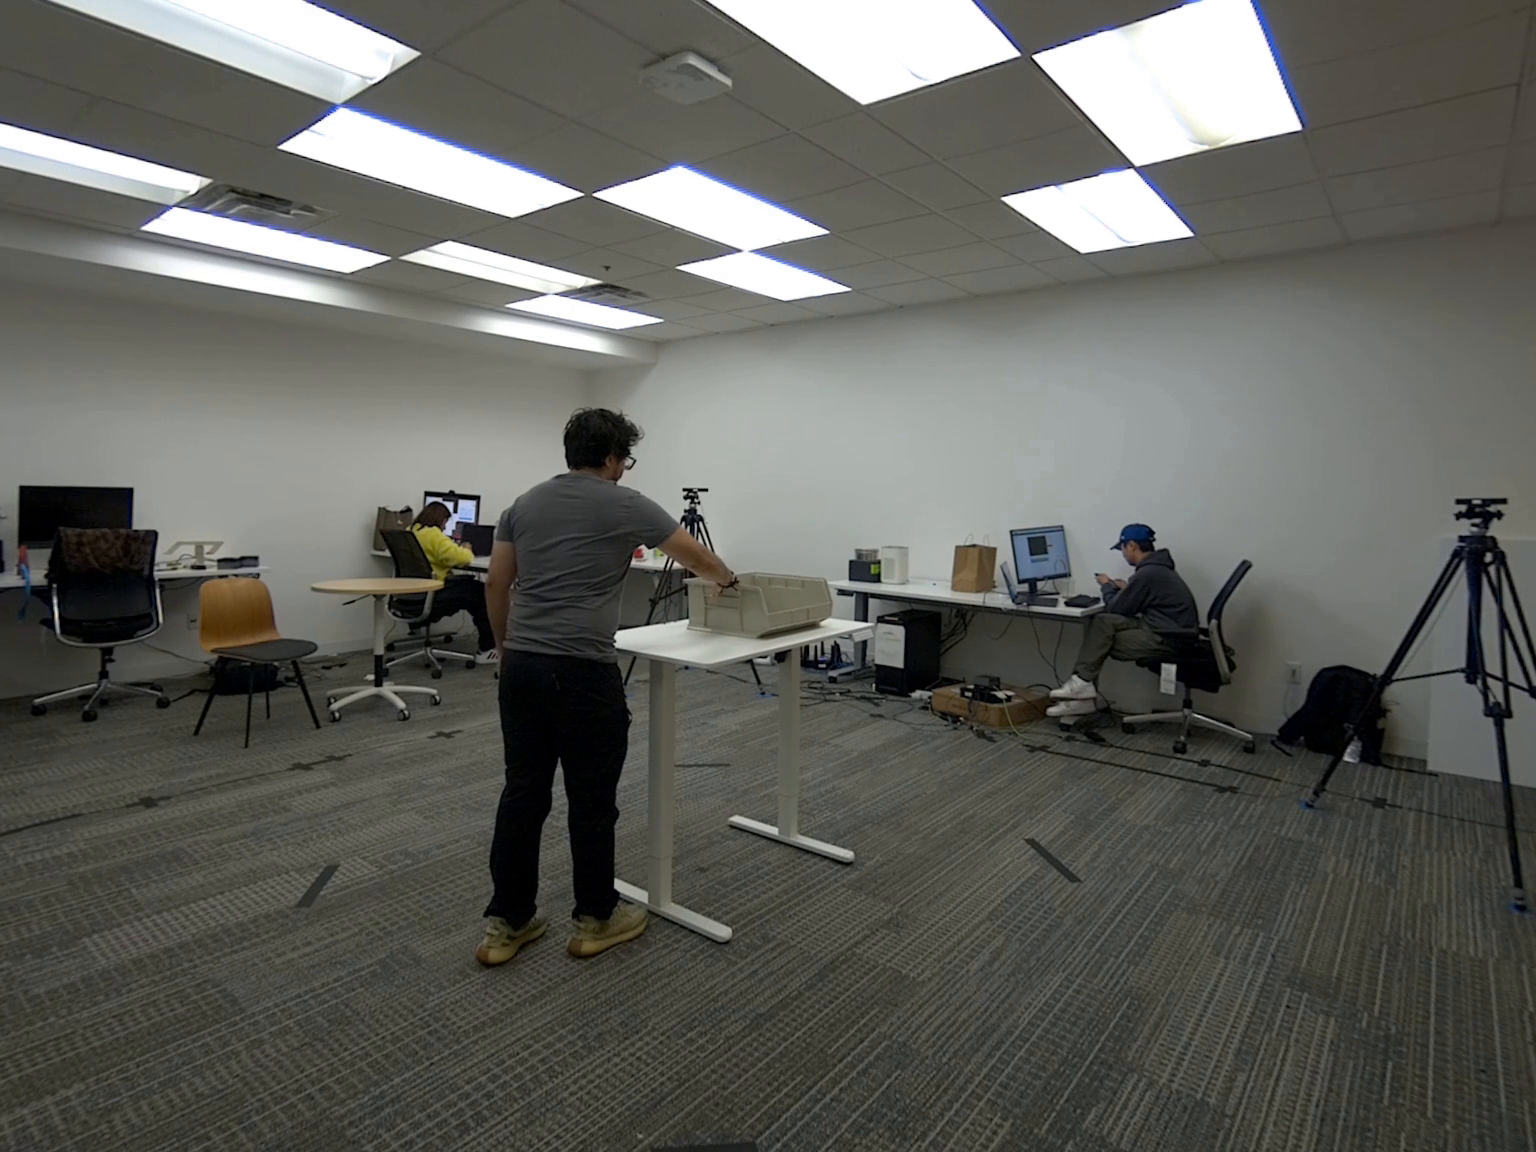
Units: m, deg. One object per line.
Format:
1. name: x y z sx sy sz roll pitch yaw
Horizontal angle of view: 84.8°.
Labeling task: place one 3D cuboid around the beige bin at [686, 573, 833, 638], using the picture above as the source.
1. beige bin: -0.037 0.100 3.117 0.389 0.188 0.410 3 6 38
